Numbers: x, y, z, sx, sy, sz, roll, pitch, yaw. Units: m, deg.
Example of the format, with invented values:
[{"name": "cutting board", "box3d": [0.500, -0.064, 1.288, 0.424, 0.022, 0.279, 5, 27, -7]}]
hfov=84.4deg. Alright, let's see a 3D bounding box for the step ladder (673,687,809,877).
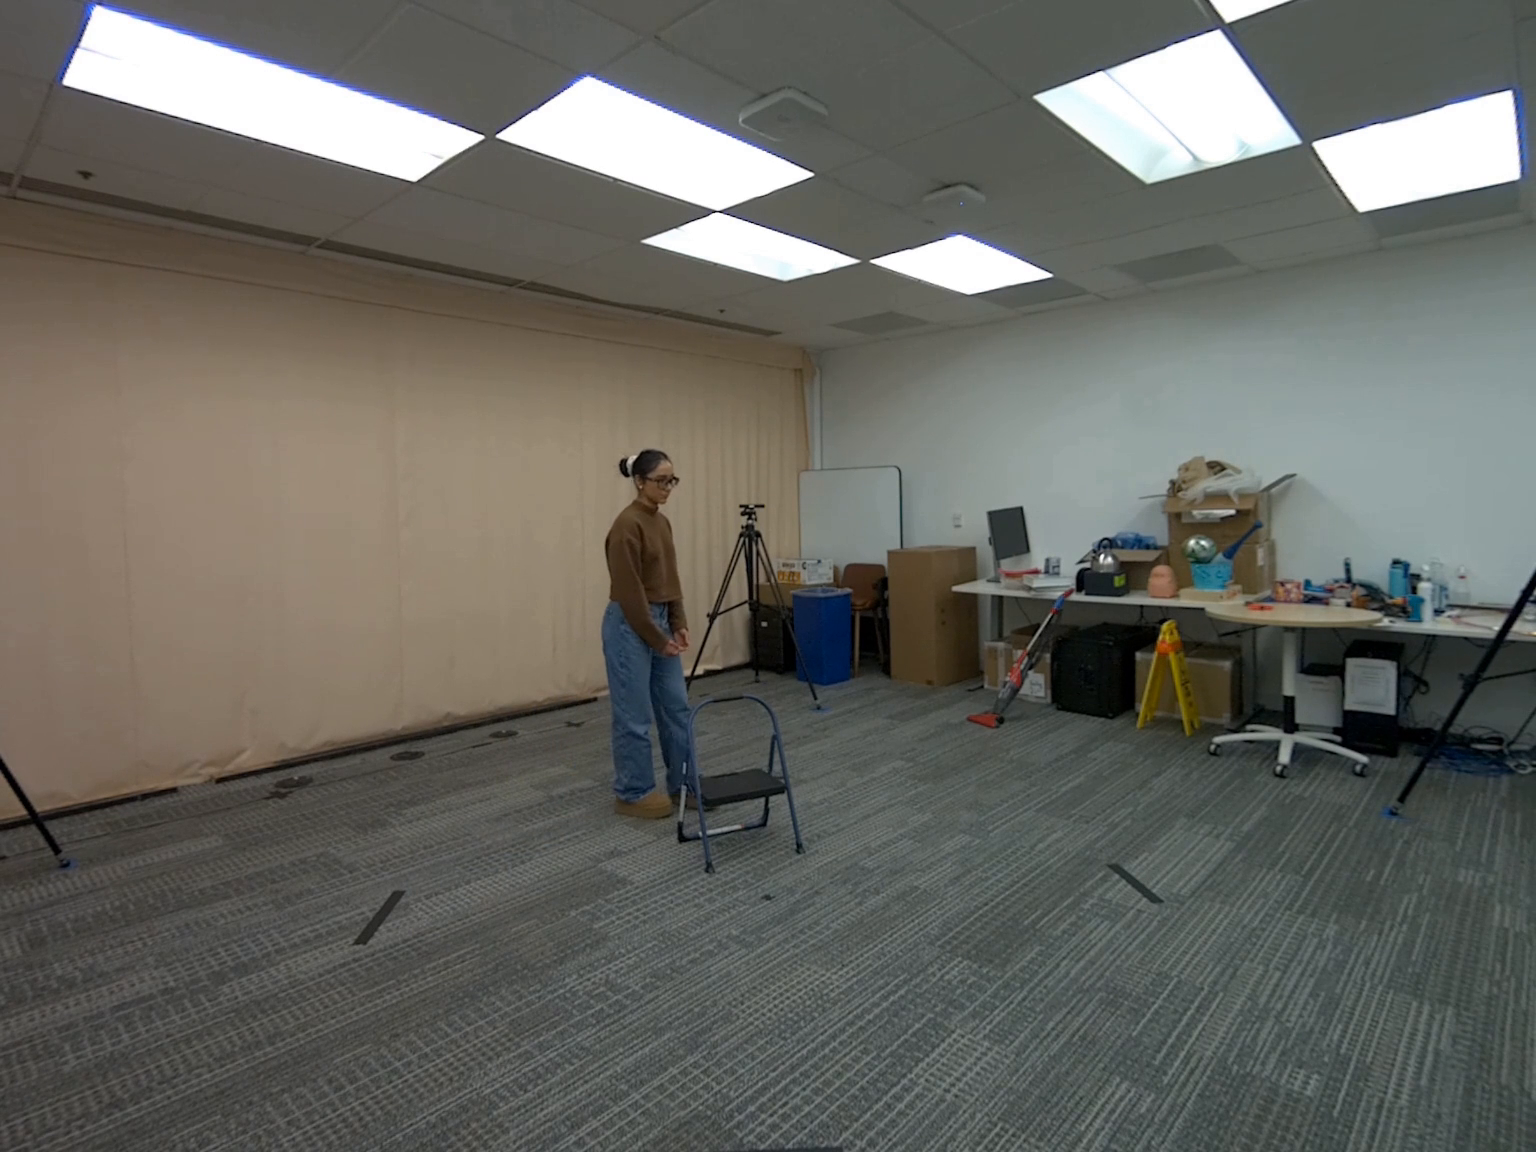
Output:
[{"name": "step ladder", "box3d": [-0.119, 0.801, 3.412, 0.420, 0.605, 0.358, -2, 3, -26]}]
